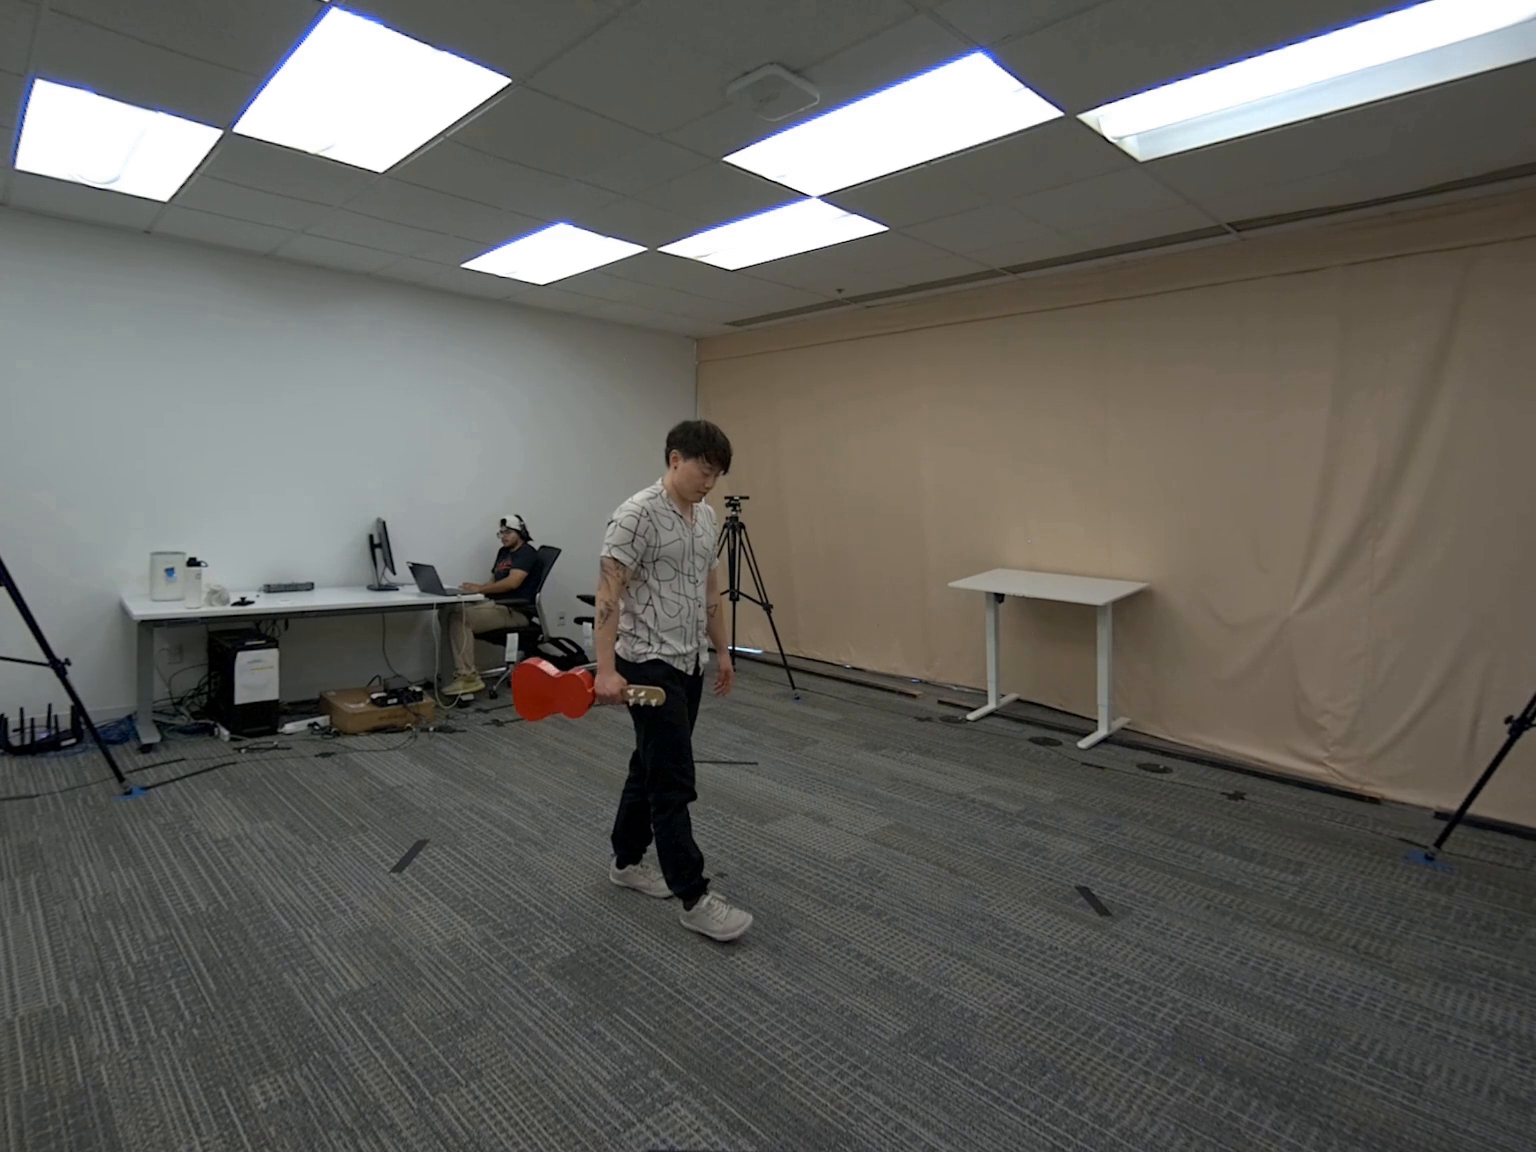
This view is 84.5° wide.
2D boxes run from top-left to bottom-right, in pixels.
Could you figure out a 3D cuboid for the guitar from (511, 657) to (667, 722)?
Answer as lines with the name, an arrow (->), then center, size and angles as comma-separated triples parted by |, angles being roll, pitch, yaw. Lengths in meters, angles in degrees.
guitar -> -0.560, 0.339, 2.630 | 0.504, 0.192, 0.070 | -7, 5, 18
